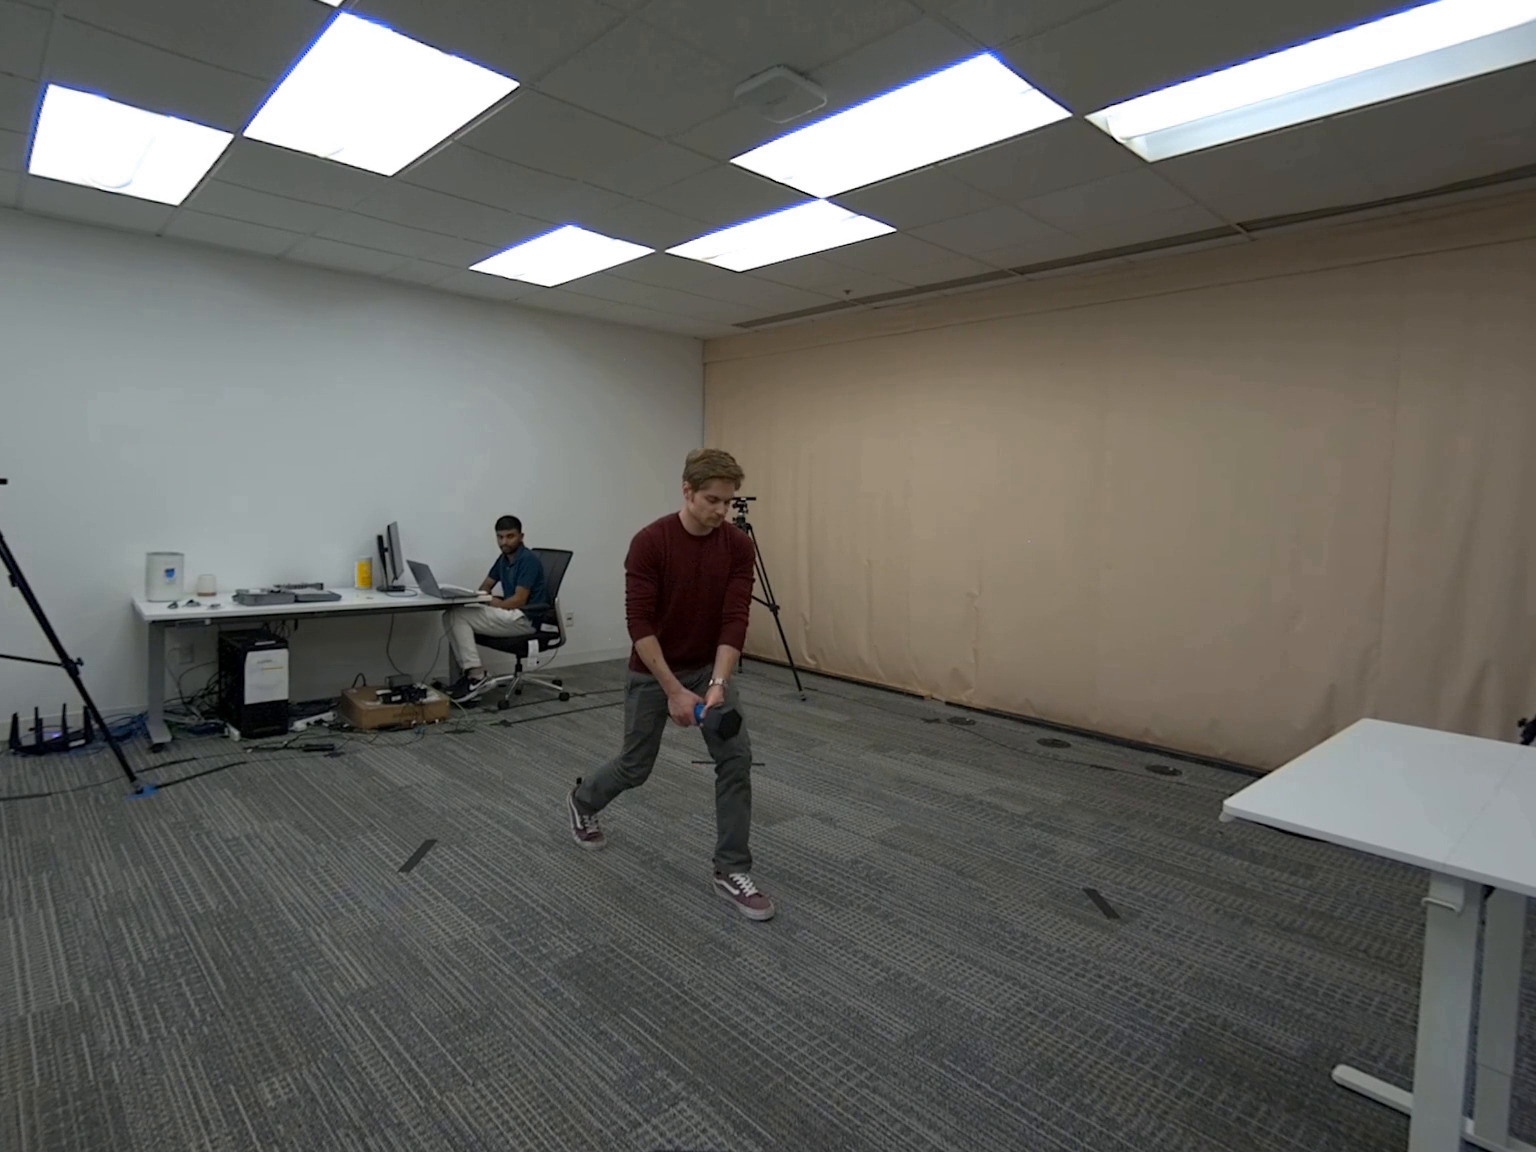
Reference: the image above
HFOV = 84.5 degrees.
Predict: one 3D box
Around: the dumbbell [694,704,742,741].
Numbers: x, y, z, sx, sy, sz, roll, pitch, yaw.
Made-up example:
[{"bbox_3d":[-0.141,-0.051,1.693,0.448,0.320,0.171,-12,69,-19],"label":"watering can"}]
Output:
[{"bbox_3d":[-0.235,0.472,2.813,0.301,0.120,0.109,6,48,52],"label":"dumbbell"}]
